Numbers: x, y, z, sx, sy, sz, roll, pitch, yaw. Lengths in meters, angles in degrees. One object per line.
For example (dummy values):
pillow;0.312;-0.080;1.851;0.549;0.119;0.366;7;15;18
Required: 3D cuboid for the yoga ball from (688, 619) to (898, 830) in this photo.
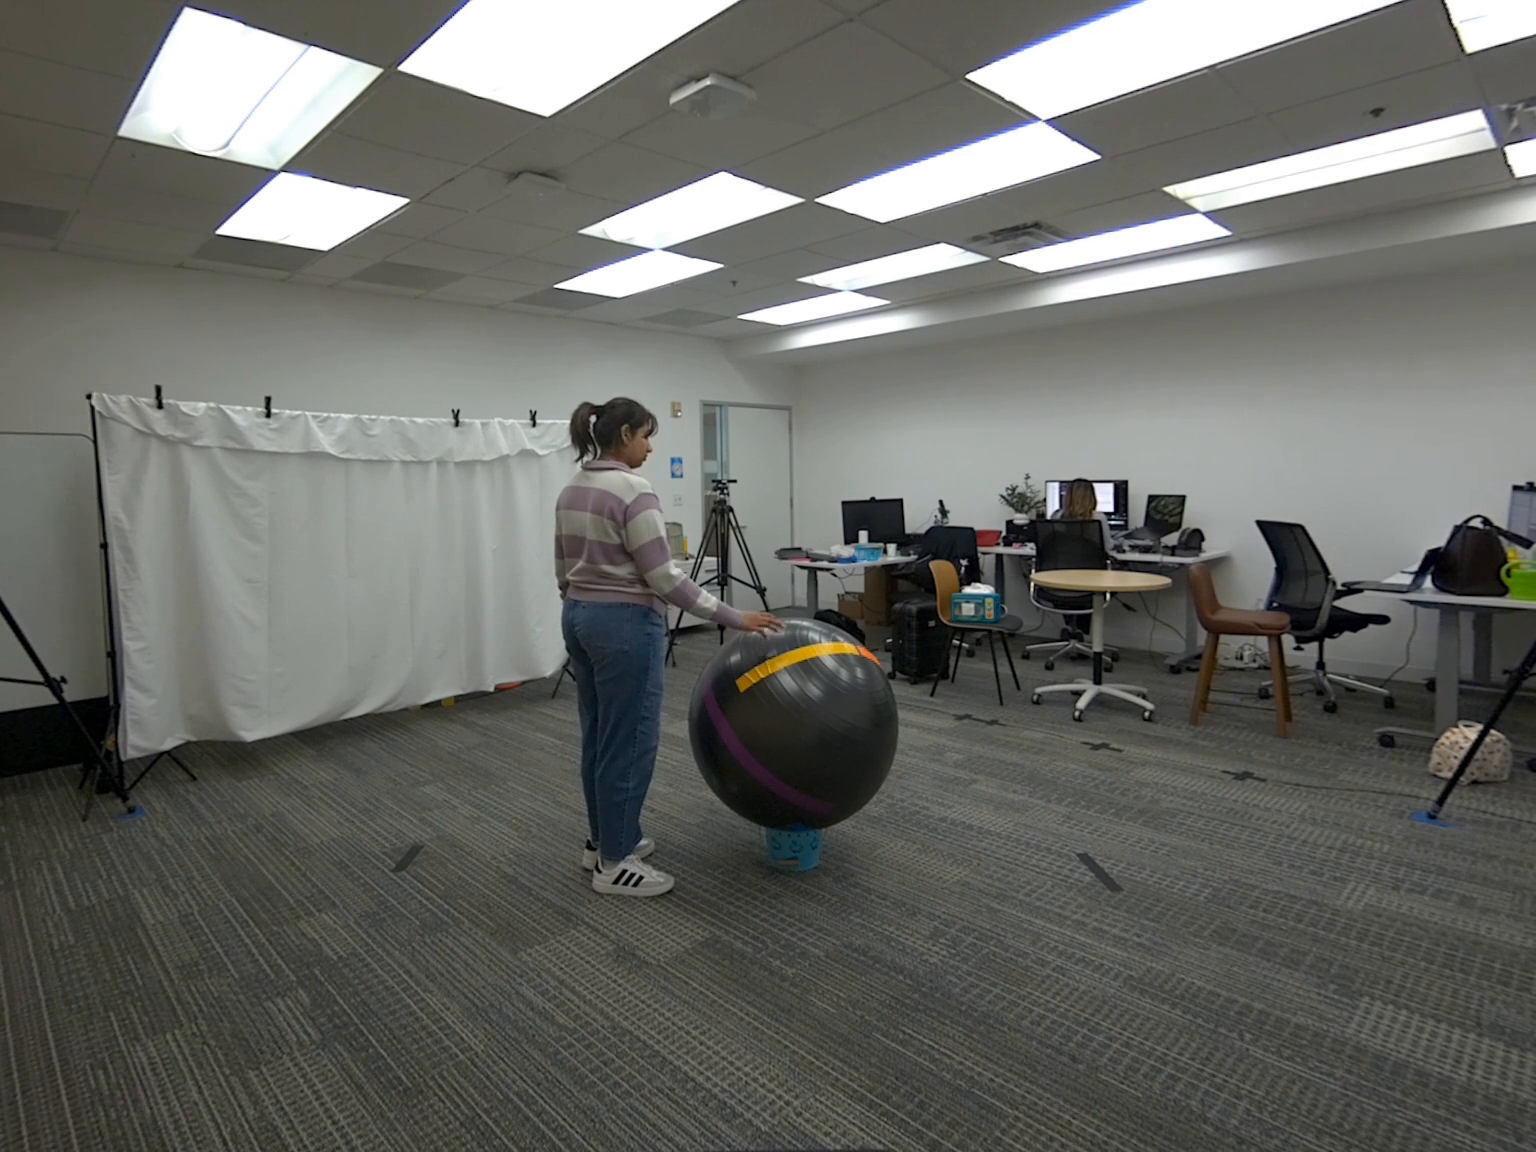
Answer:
yoga ball;0.091;0.531;3.111;0.757;0.755;0.762;-1;5;-2
